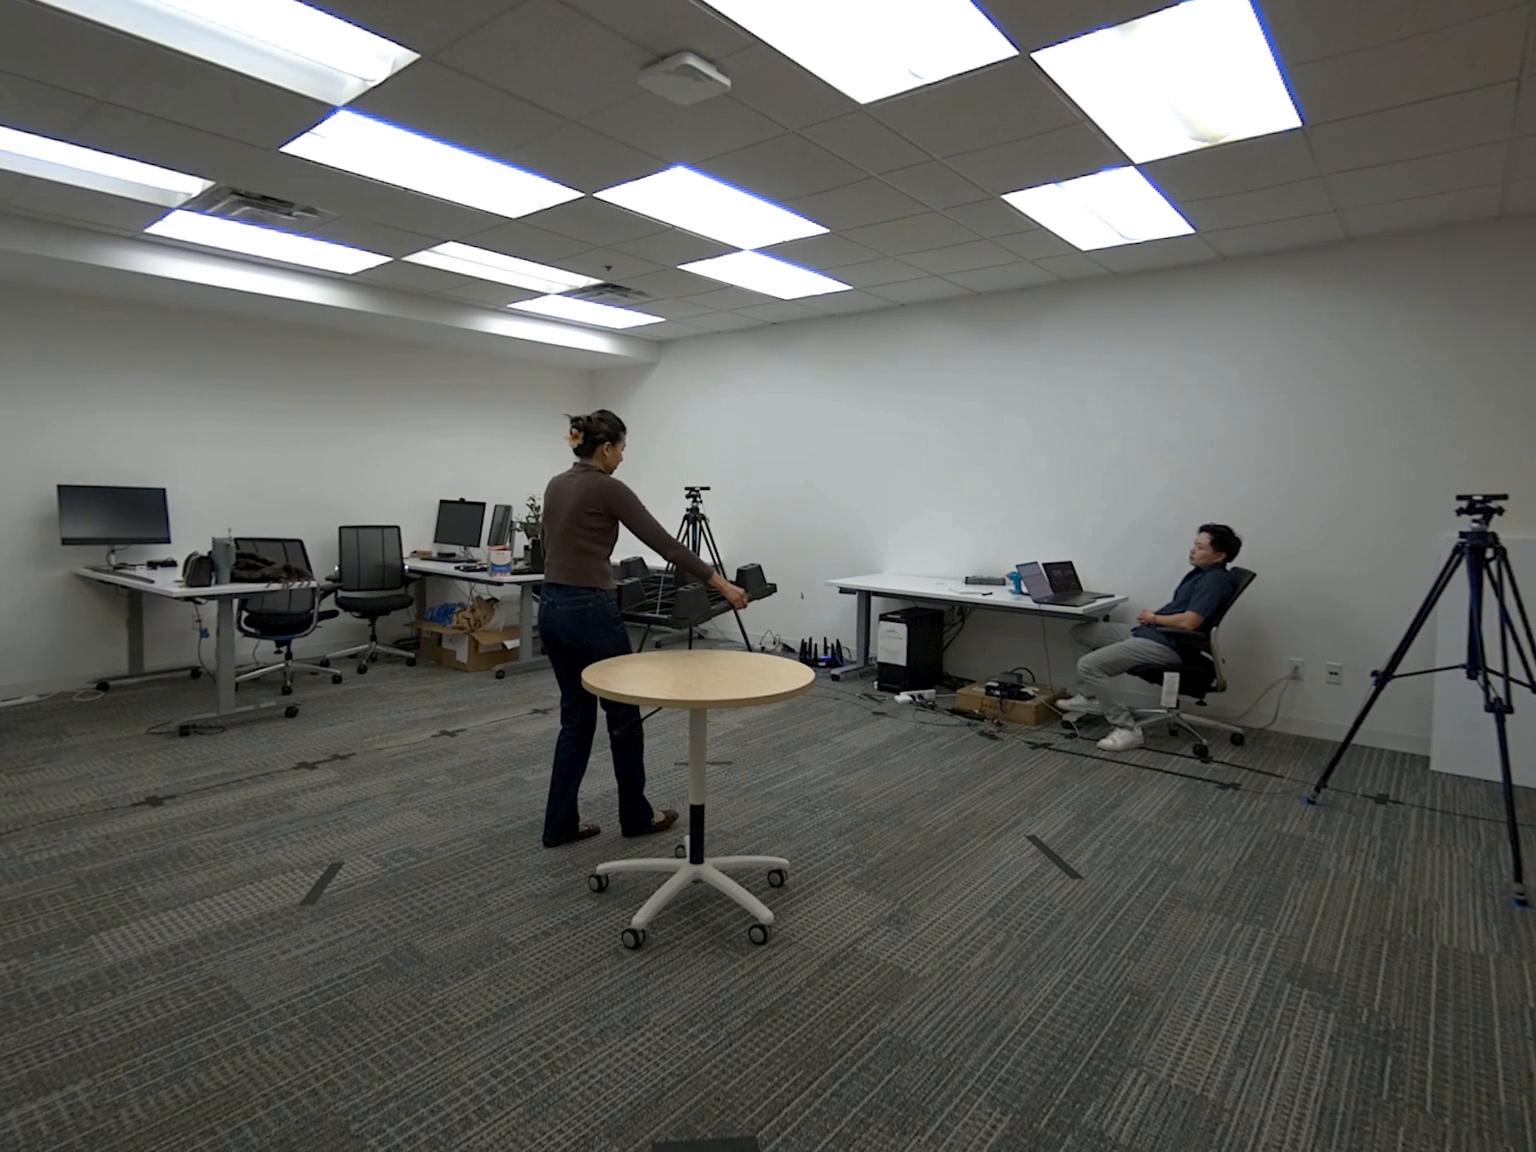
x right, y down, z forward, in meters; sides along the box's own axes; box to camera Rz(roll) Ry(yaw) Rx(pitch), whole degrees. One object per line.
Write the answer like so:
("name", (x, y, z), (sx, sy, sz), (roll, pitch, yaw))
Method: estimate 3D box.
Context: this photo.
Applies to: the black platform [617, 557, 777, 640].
("black platform", (-0.469, 0.045, 3.577), (0.832, 0.142, 0.592), (4, 15, 37))
